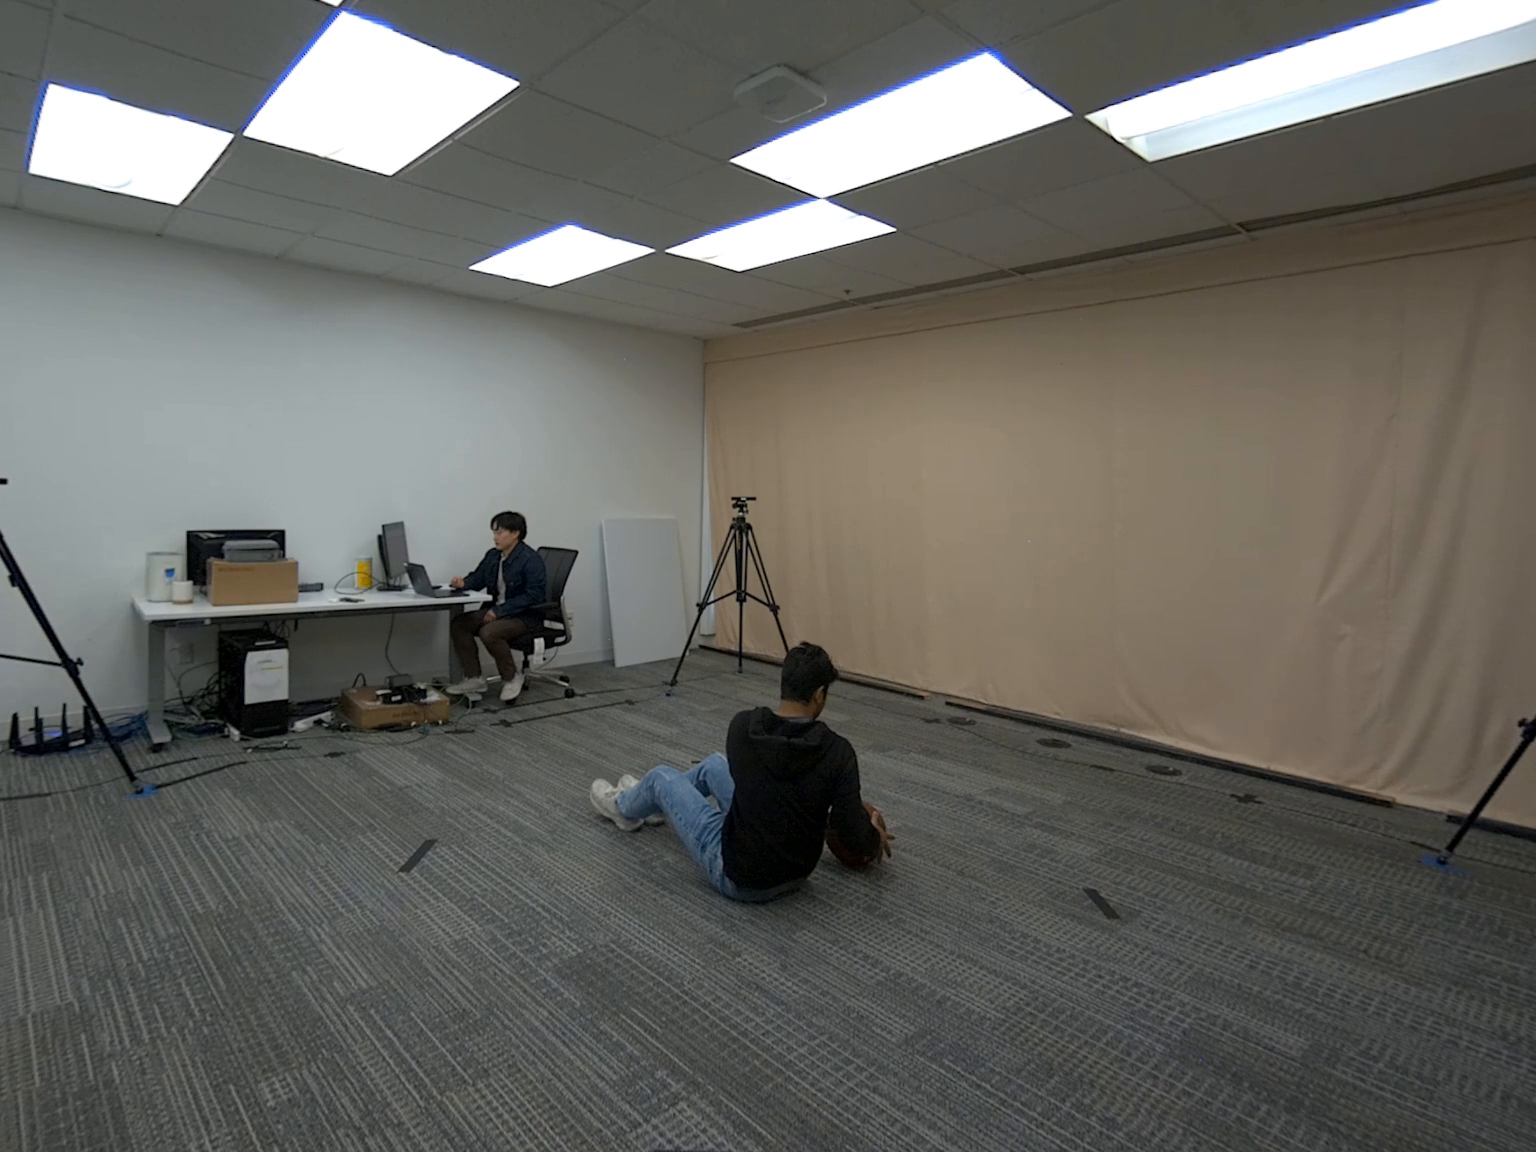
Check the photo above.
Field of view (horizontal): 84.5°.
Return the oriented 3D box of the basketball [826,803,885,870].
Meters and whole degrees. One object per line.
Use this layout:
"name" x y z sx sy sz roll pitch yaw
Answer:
"basketball" 0.331 0.990 3.243 0.236 0.235 0.237 1 4 -1
